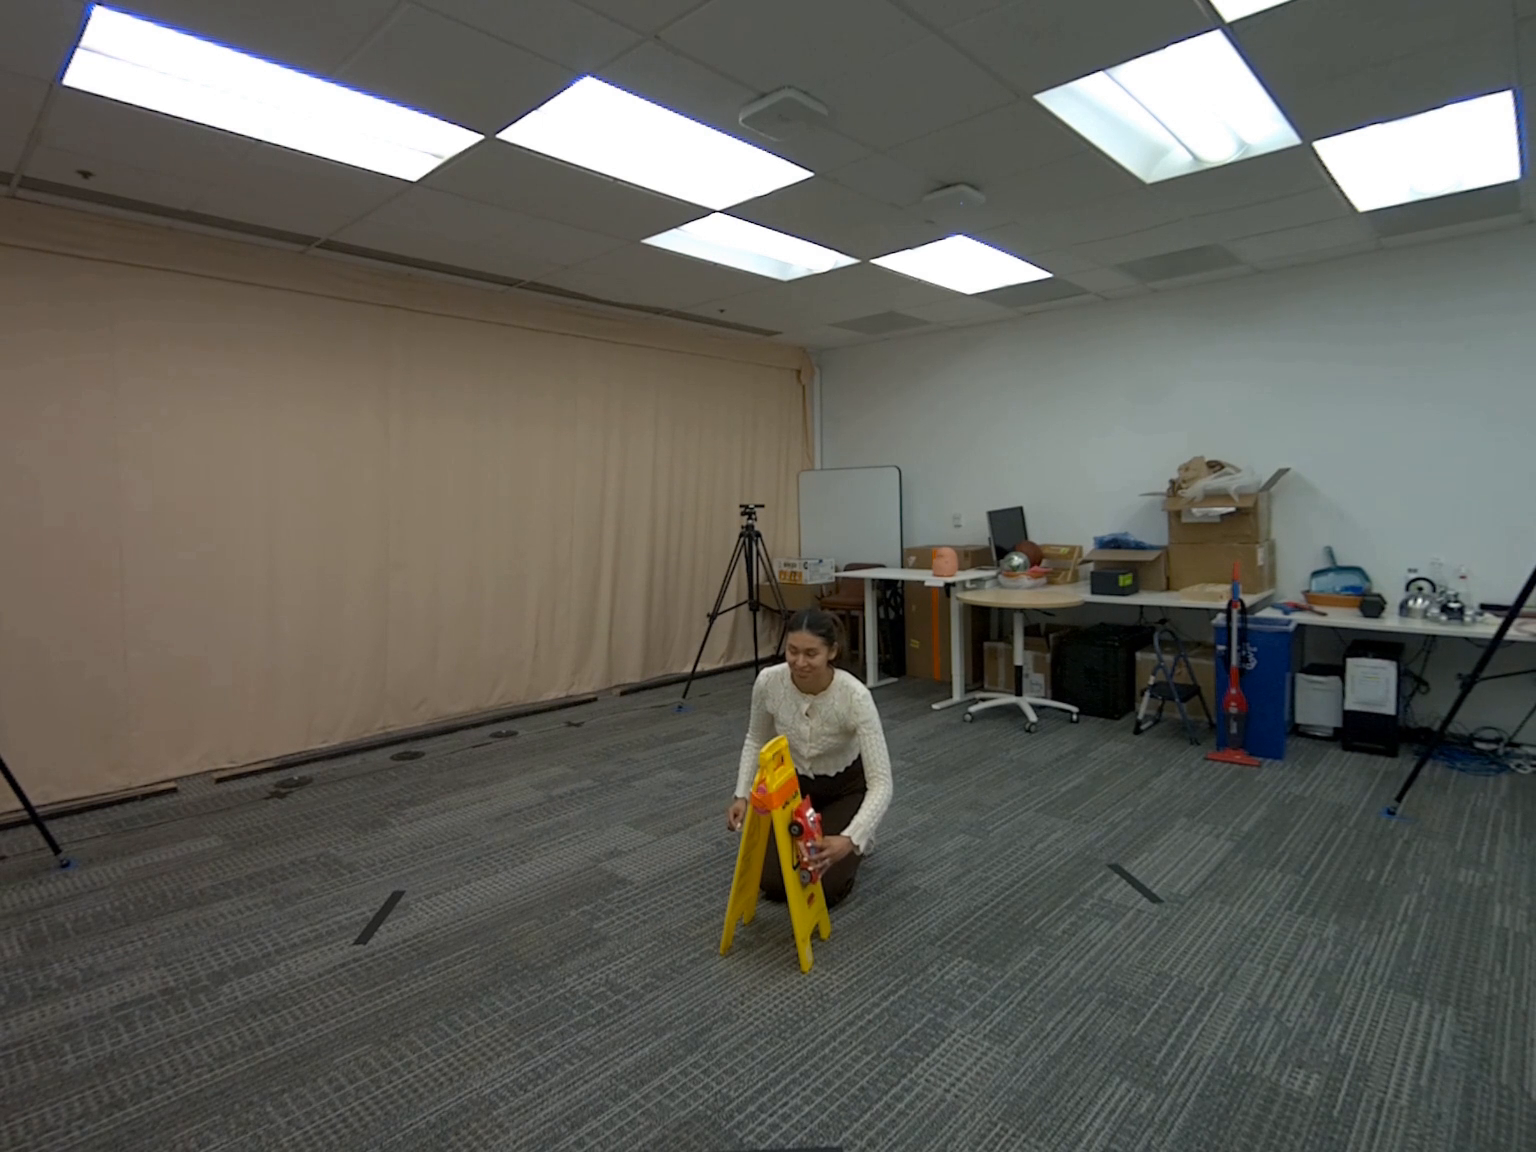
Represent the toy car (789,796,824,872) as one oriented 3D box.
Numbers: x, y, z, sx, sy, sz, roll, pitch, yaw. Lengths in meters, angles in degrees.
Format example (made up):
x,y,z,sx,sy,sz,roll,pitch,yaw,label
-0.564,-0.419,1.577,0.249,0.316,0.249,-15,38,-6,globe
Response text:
x,y,z,sx,sy,sz,roll,pitch,yaw,label
0.122,0.811,2.611,0.085,0.254,0.128,1,5,22,toy car
